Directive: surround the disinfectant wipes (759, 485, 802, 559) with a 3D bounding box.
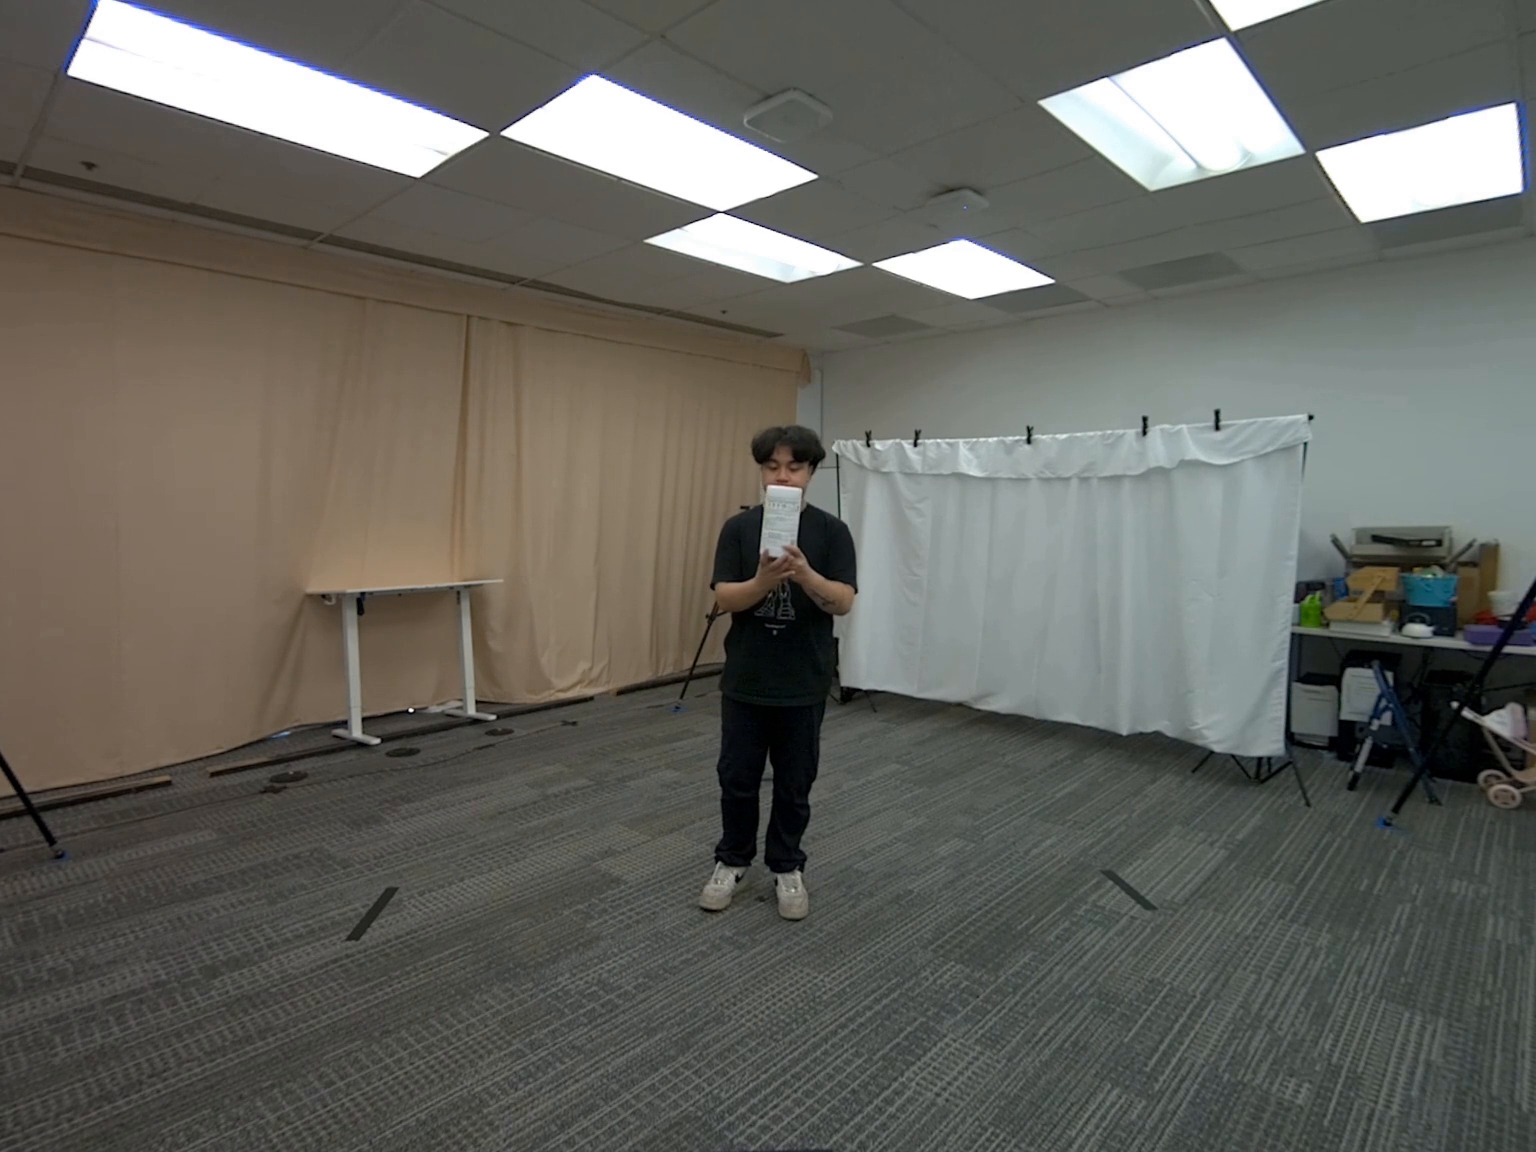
[{"bbox_3d":[0.038,-0.166,2.585,0.117,0.217,0.118,6,7,-3],"label":"disinfectant wipes"}]
